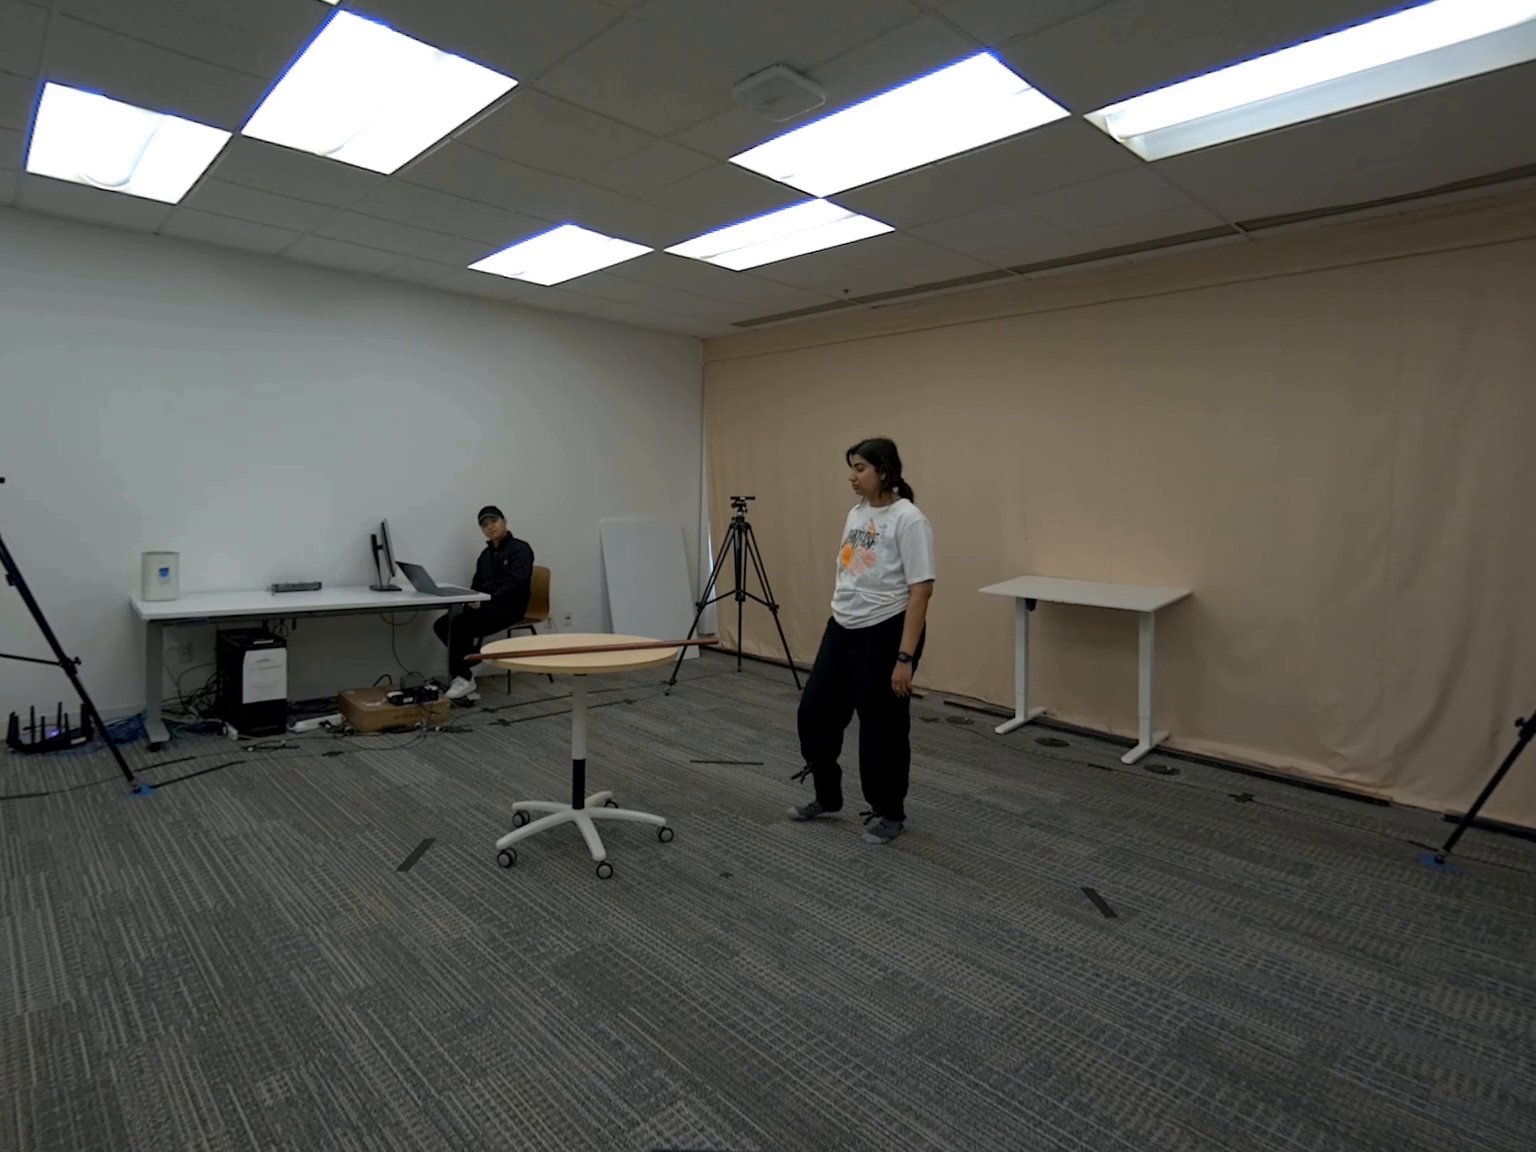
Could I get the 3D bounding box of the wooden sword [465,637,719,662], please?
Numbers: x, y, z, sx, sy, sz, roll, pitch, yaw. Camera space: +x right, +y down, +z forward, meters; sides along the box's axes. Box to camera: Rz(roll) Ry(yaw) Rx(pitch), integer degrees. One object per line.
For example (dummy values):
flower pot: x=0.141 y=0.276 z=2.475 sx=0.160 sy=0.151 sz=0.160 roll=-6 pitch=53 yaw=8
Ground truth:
wooden sword: x=-0.637 y=0.284 z=3.247 sx=1.005 sy=0.024 sz=0.052 roll=0 pitch=-9 yaw=-28
